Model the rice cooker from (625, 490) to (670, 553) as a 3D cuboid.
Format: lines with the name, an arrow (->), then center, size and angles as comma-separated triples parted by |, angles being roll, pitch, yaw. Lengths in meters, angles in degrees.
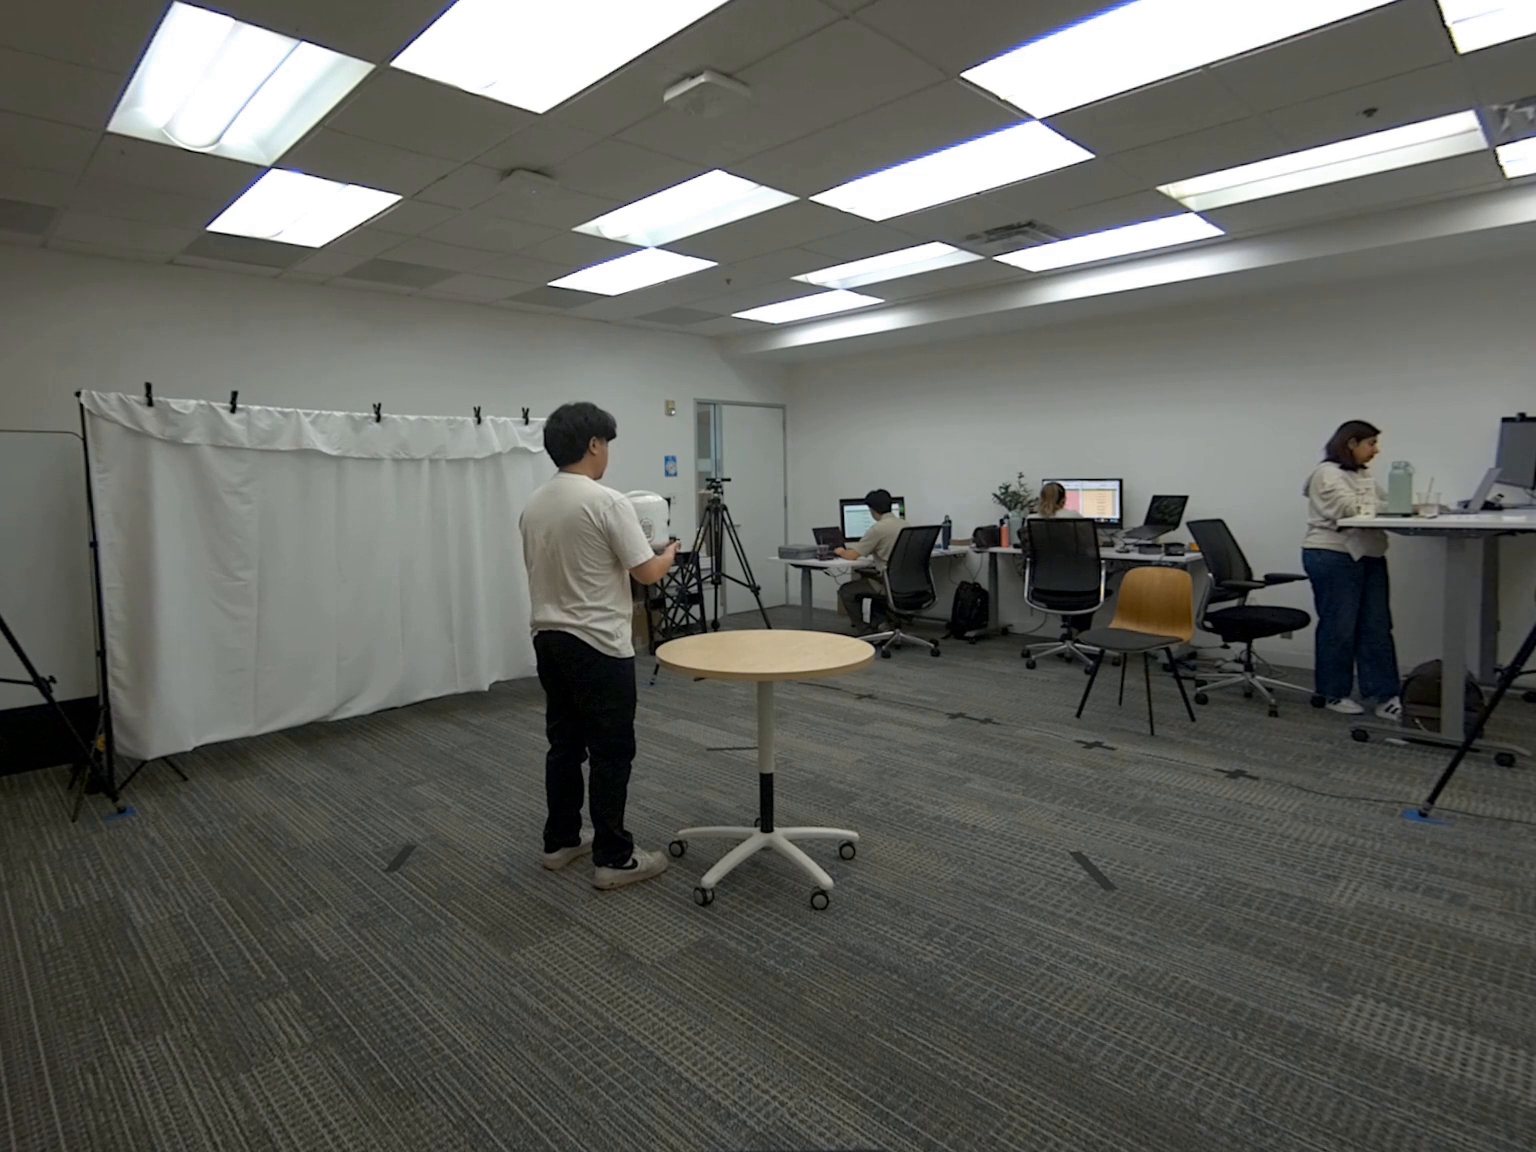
rice cooker -> -0.482, -0.208, 3.264 | 0.217, 0.232, 0.221 | -7, 2, -18
